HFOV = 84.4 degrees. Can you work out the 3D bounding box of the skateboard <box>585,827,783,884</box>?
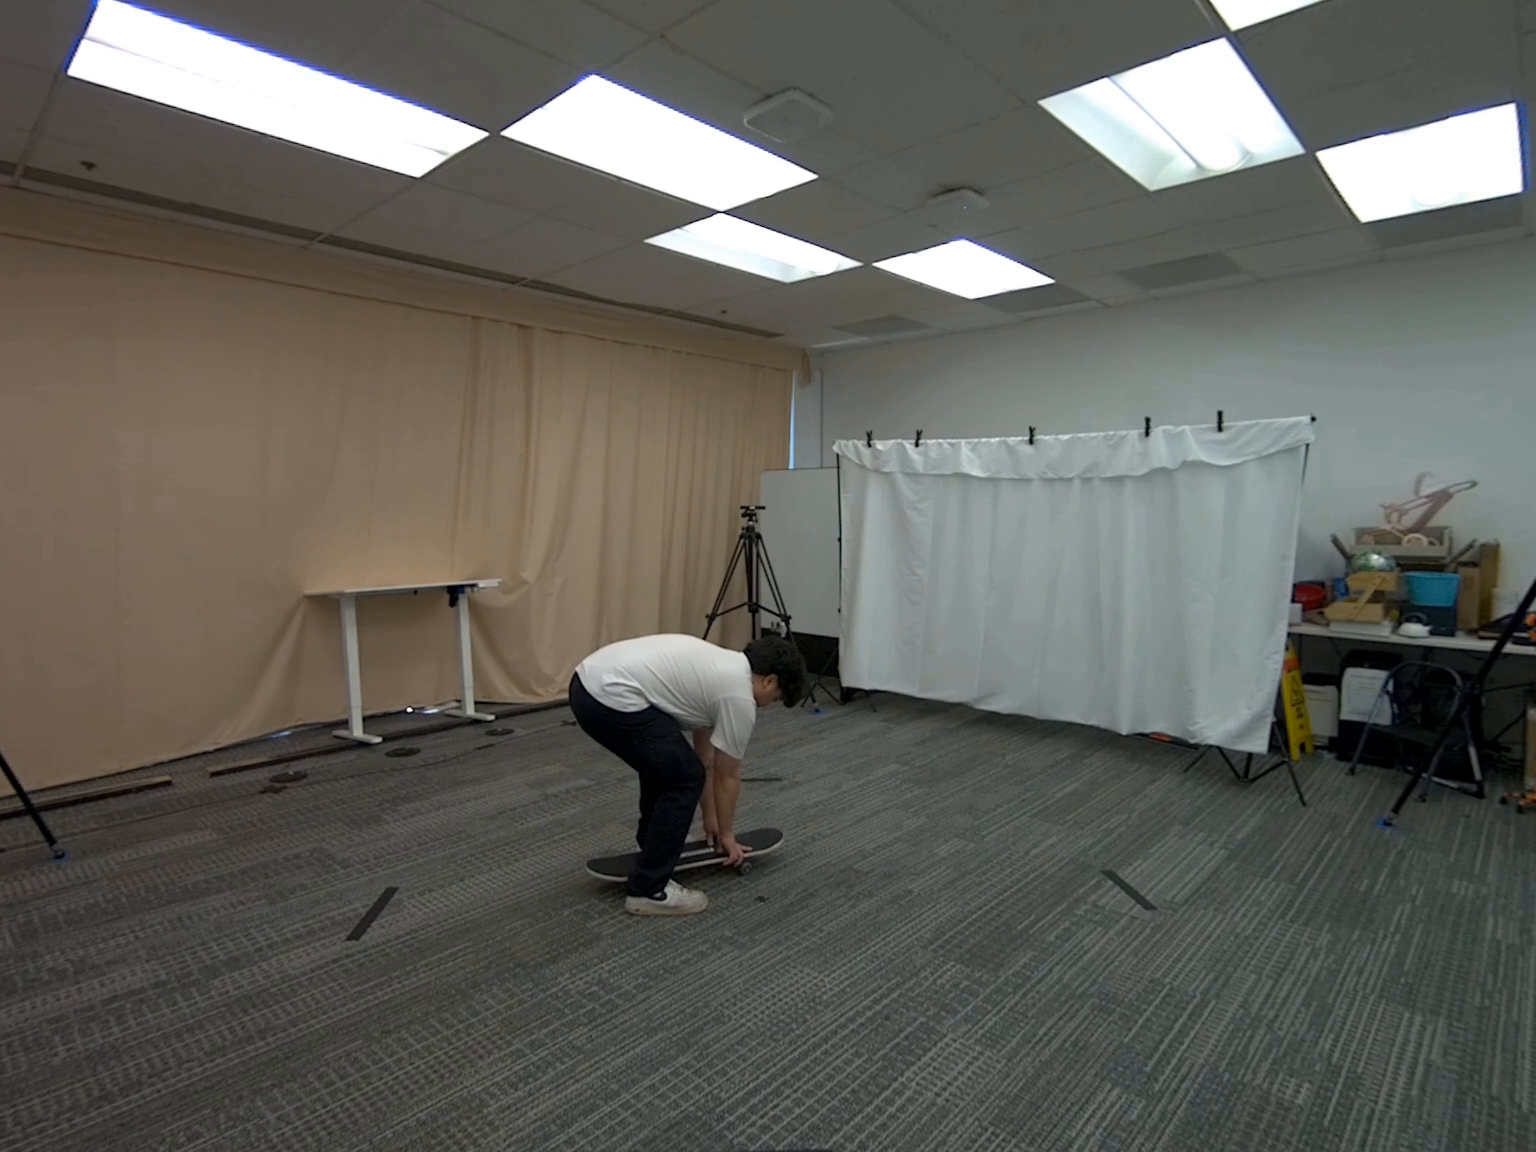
[{"bbox_3d":[-0.296,1.078,3.158,0.768,0.110,0.198,-2,4,-23],"label":"skateboard"}]
